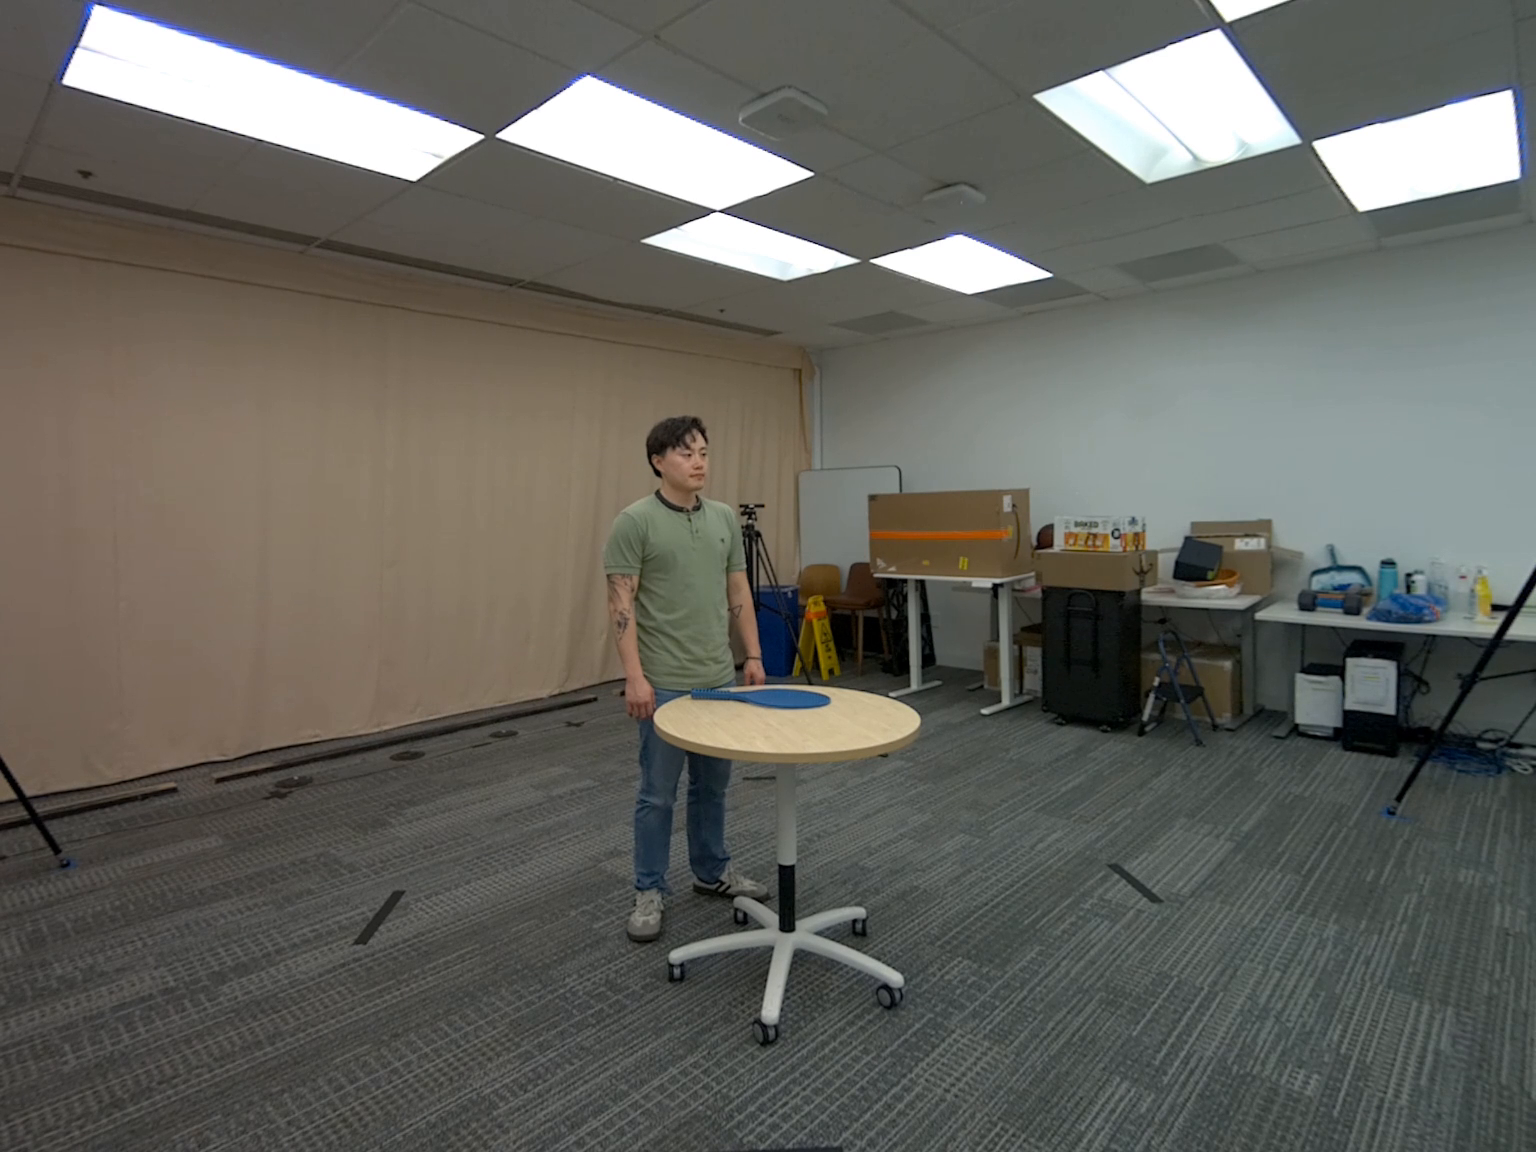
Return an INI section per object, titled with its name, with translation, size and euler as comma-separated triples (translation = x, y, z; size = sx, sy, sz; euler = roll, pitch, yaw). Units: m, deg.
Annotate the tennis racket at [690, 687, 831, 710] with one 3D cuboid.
[tennis racket]
translation = -0.028, 0.377, 2.615
size = 0.437, 0.031, 0.212
euler = 2, 5, 8
